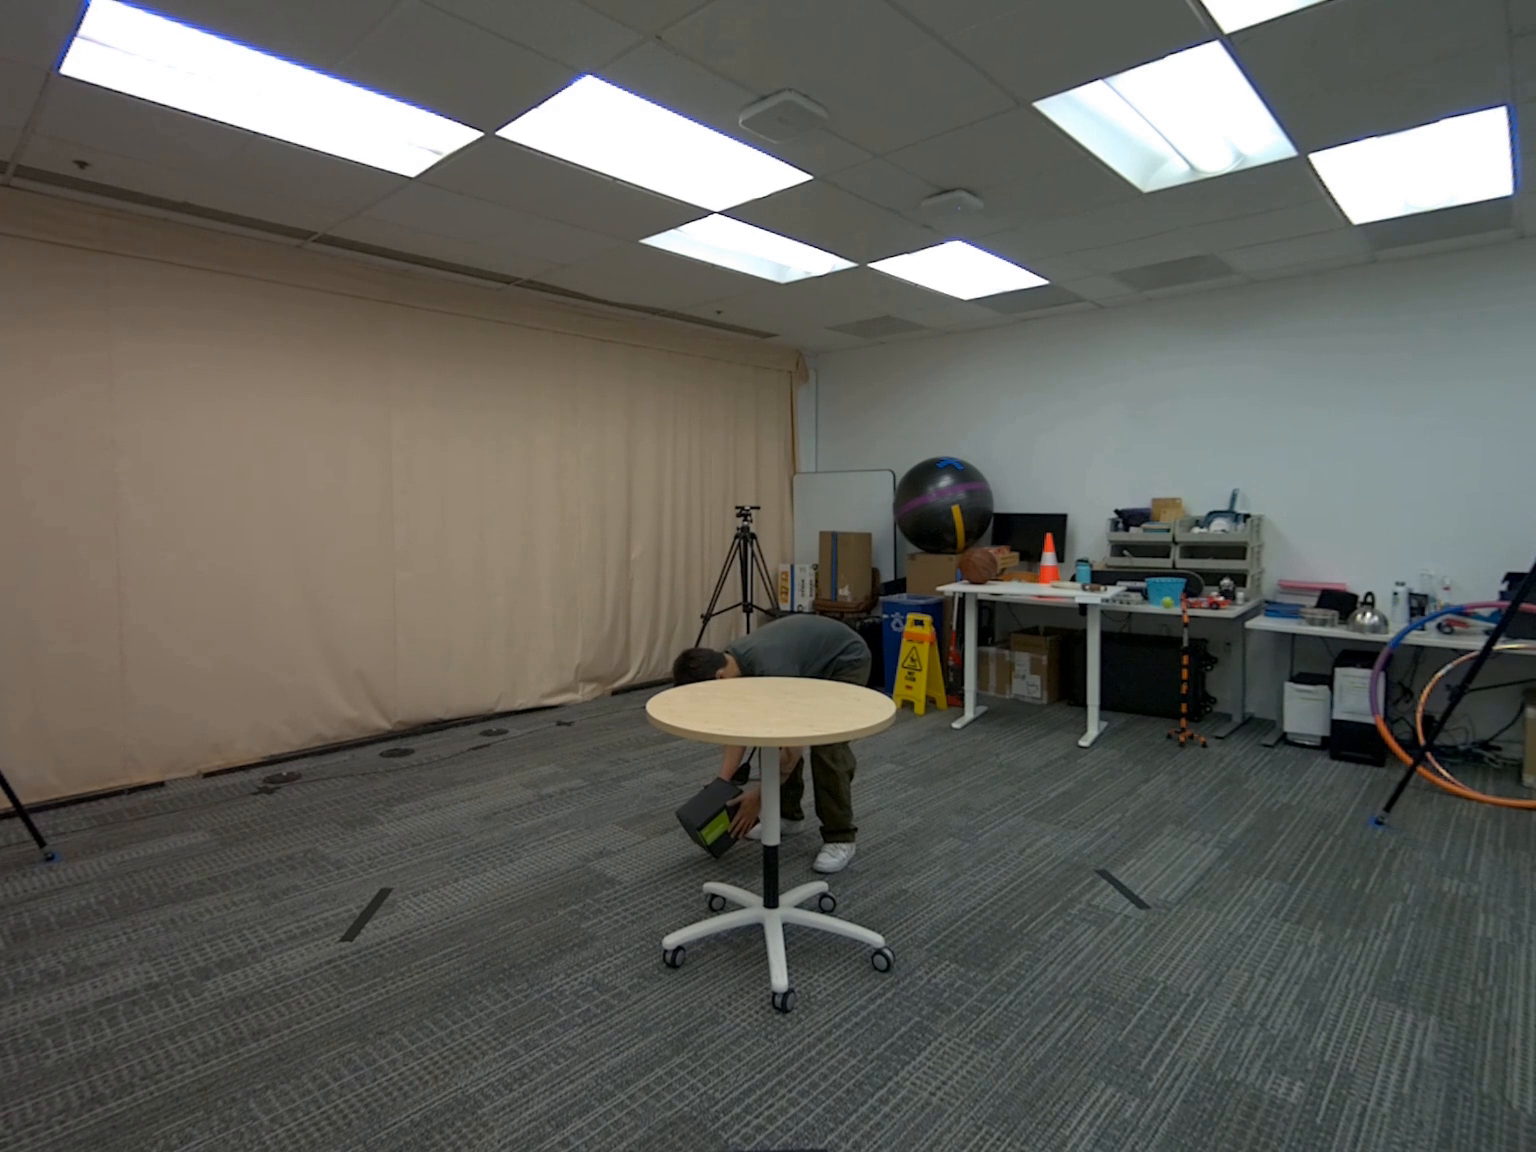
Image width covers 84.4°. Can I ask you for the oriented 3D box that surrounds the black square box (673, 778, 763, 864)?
[{"bbox_3d":[-0.198,0.940,3.274,0.225,0.153,0.223,-37,17,-23],"label":"black square box"}]
